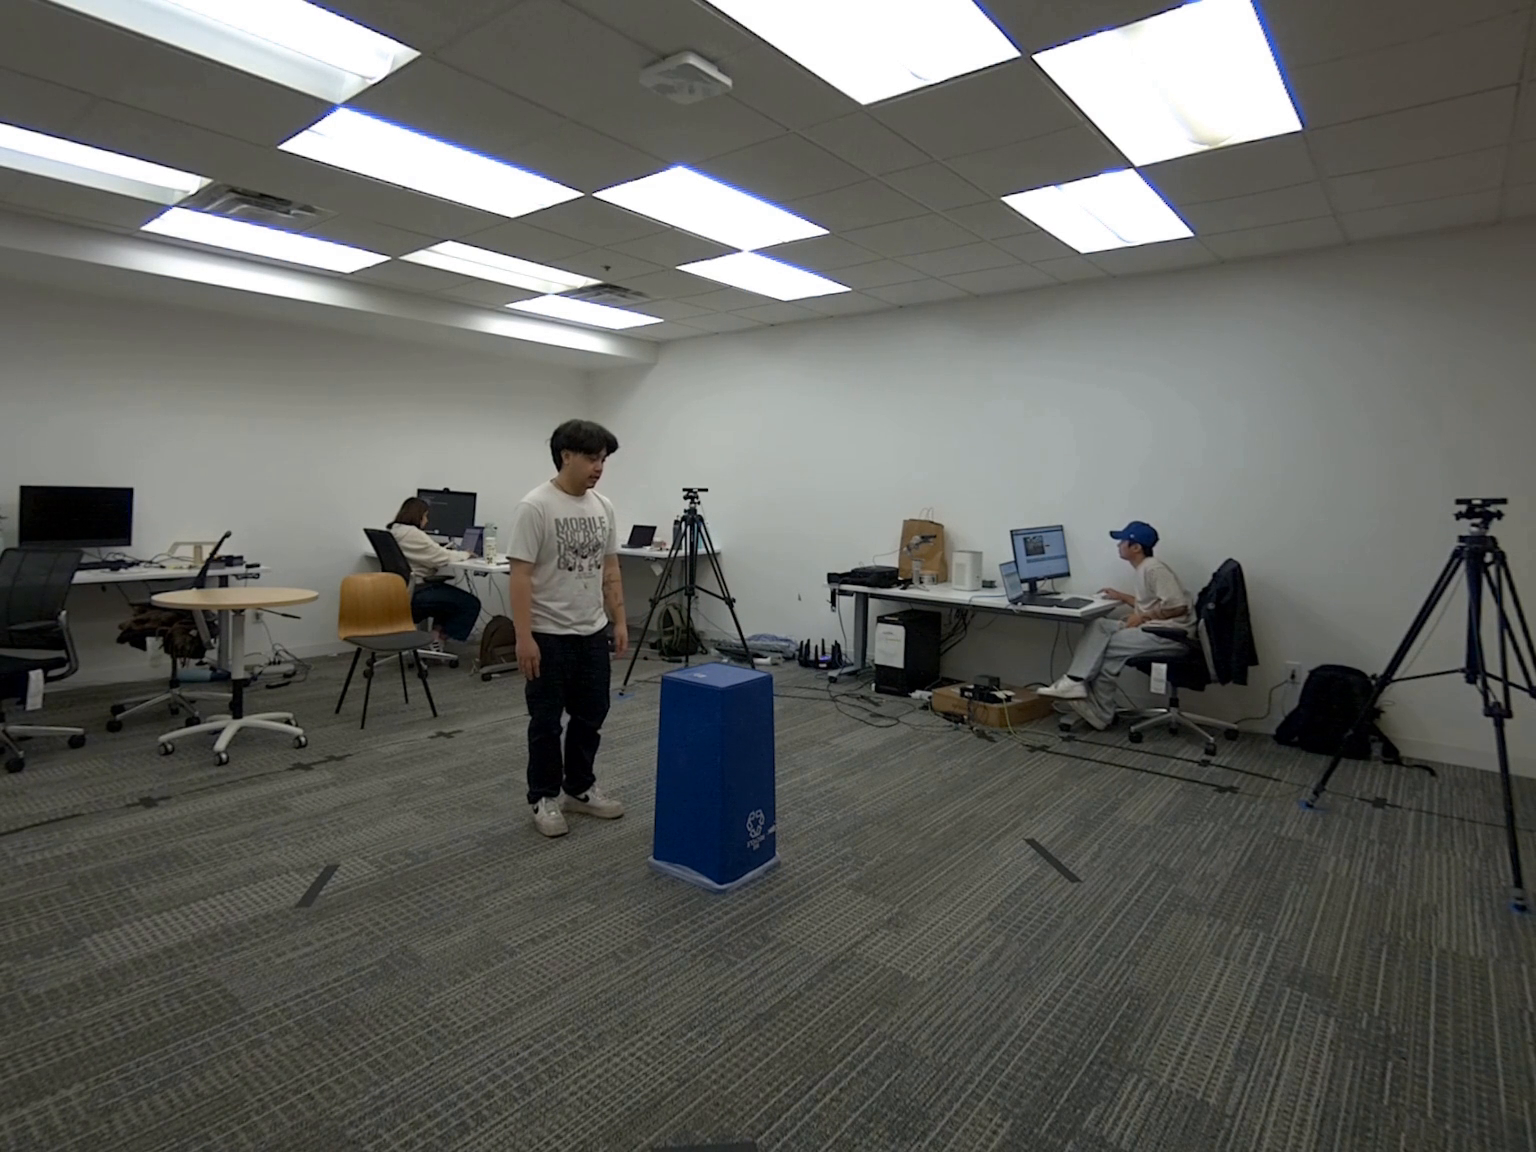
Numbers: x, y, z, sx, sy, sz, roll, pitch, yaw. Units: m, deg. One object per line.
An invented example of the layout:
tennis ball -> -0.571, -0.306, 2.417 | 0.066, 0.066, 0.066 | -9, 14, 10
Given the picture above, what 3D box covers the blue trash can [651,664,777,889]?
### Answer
blue trash can -> -0.208, 0.712, 3.143 | 0.390, 0.711, 0.363 | 3, 5, 38
